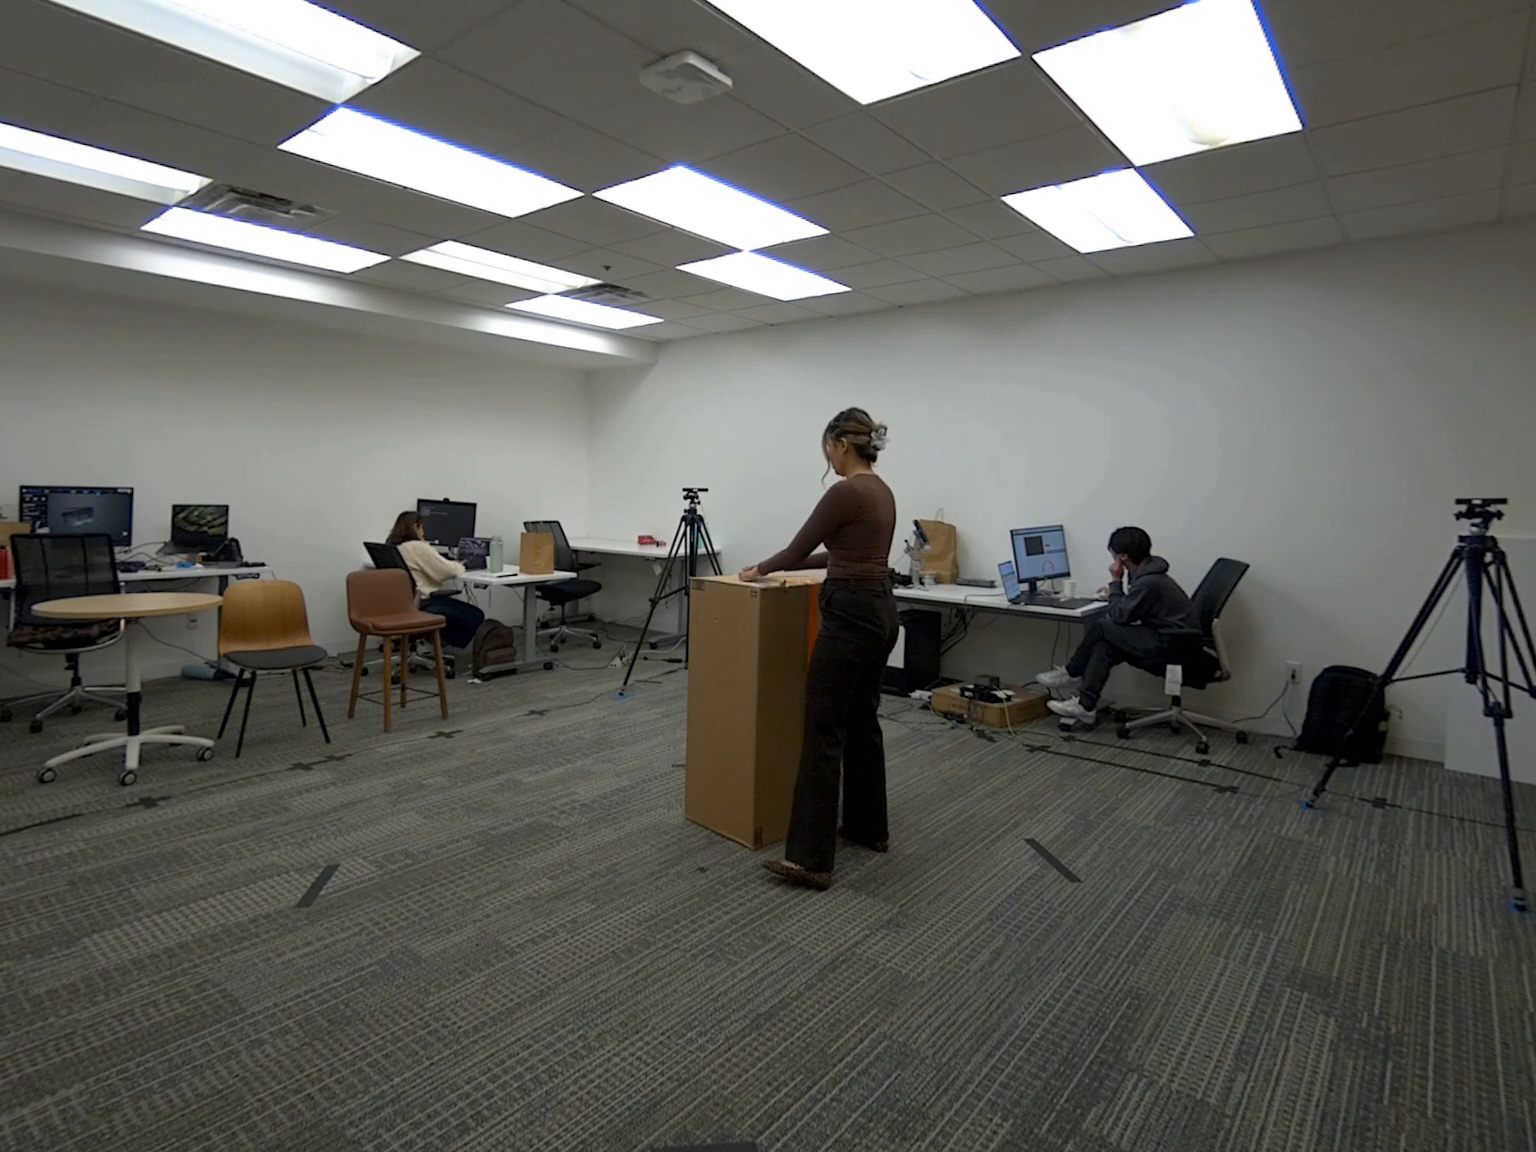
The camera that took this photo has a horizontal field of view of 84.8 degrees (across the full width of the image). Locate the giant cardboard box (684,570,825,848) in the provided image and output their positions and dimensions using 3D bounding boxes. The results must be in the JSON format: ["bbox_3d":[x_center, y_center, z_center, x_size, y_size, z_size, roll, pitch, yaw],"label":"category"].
[{"bbox_3d":[-0.002,0.512,3.604,0.566,1.023,0.462,-2,5,-43],"label":"giant cardboard box"}]
